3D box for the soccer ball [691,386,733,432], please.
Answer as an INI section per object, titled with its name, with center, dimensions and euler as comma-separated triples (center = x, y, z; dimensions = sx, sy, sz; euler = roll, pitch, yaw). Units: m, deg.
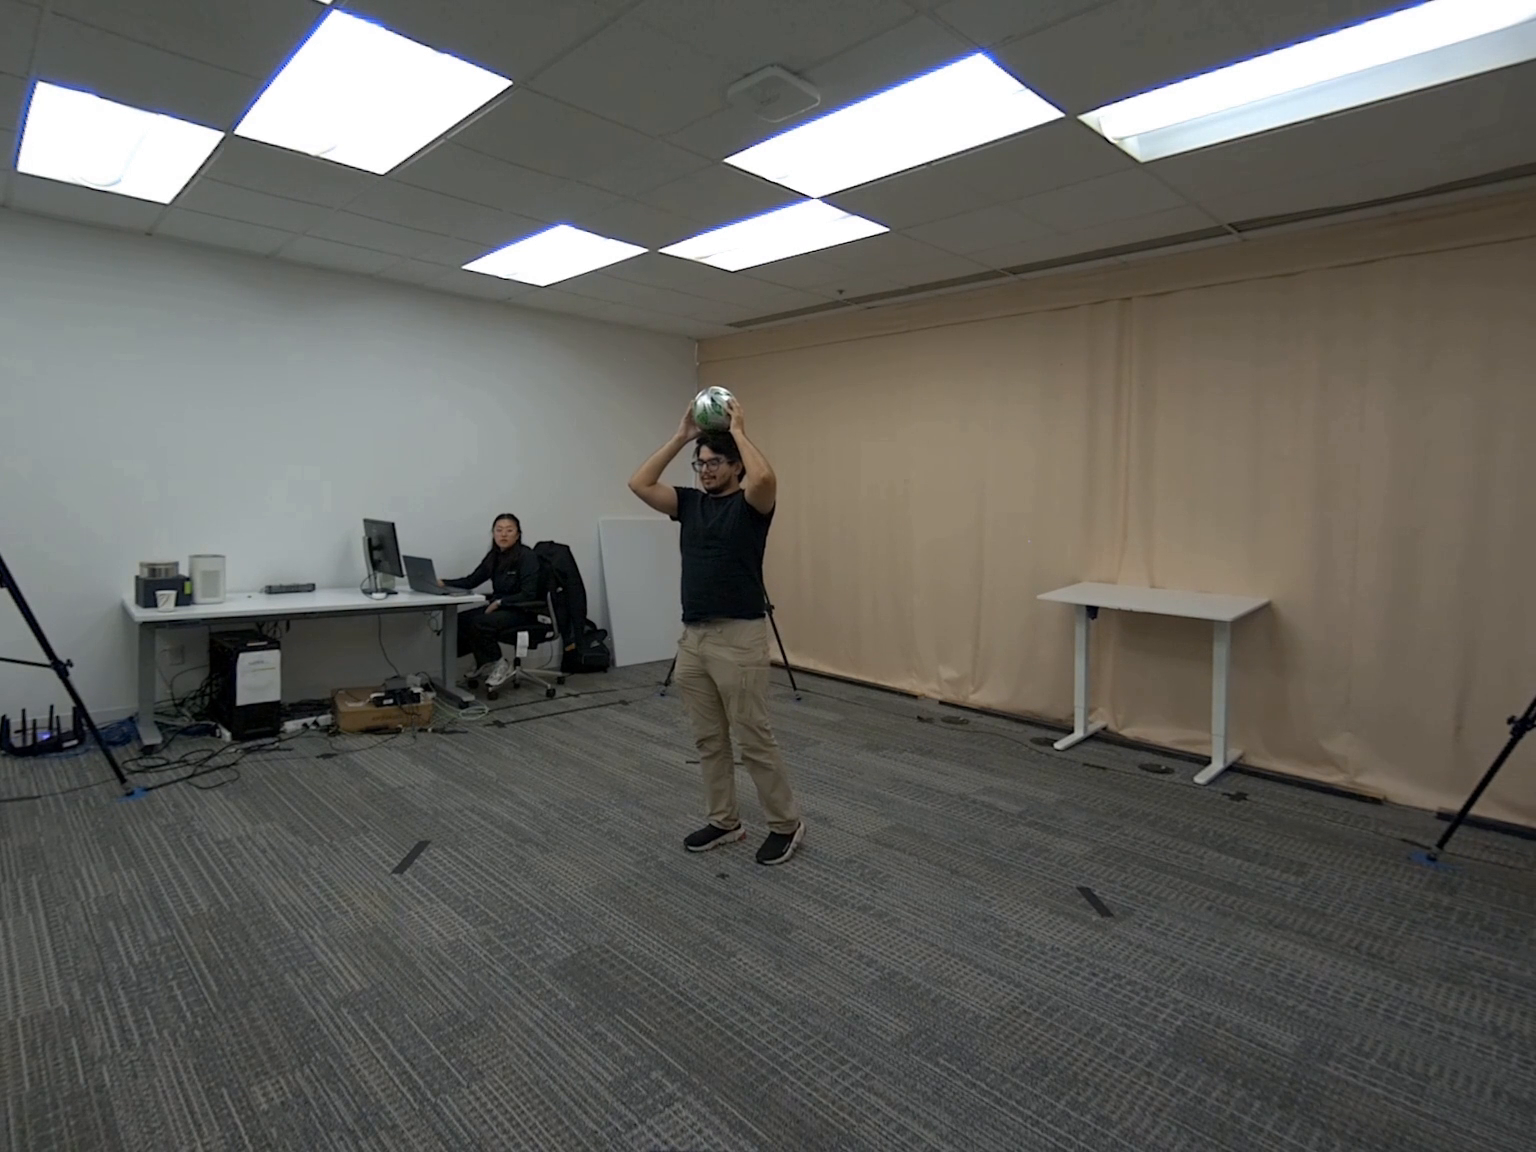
[soccer ball]
center = -0.209, -0.648, 3.319
dimensions = 0.187, 0.187, 0.188
euler = 1, 4, -1
